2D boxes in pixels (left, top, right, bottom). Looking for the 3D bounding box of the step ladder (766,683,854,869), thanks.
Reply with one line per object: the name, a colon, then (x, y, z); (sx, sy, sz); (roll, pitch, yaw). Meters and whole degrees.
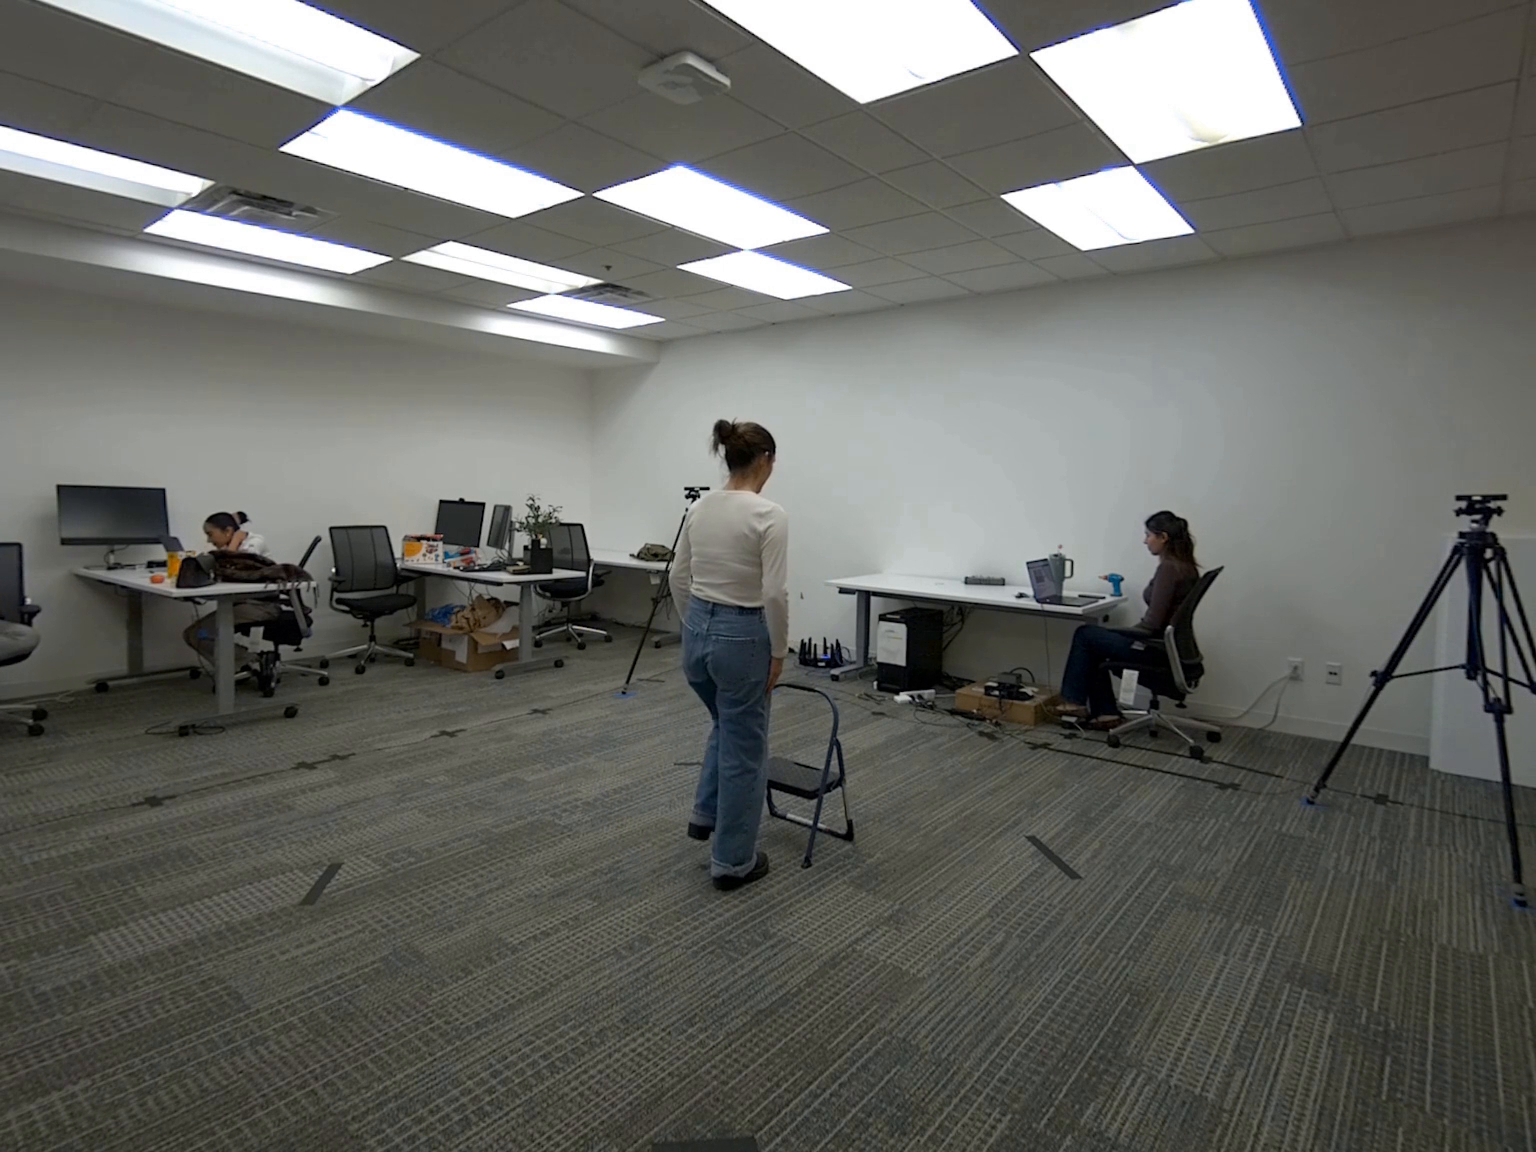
step ladder: (0.075, 0.739, 3.372); (0.445, 0.604, 0.339); (4, 5, 38)
